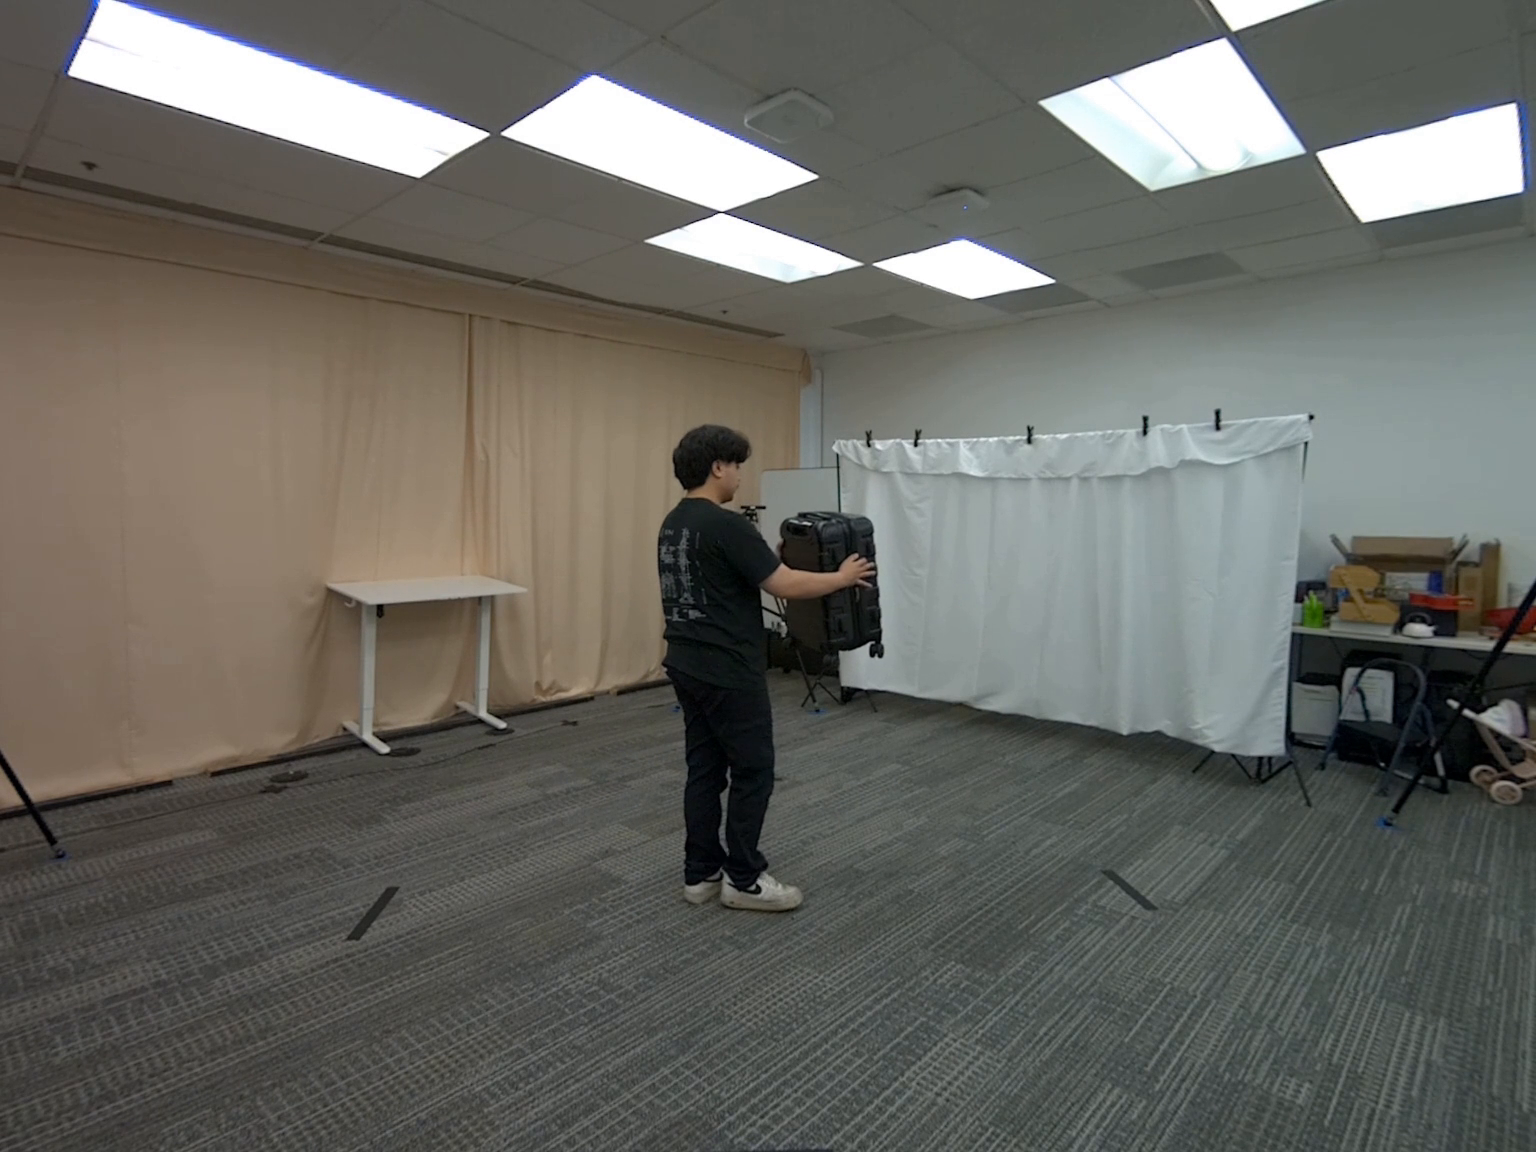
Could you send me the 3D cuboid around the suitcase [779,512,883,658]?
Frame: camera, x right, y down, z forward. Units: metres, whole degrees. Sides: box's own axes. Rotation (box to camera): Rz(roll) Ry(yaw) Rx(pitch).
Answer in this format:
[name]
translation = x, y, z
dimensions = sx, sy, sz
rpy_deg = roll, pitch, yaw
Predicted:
[suitcase]
translation = 0.241, 0.028, 3.218
dimensions = 0.243, 0.546, 0.386
rpy_deg = -9, 10, -27
